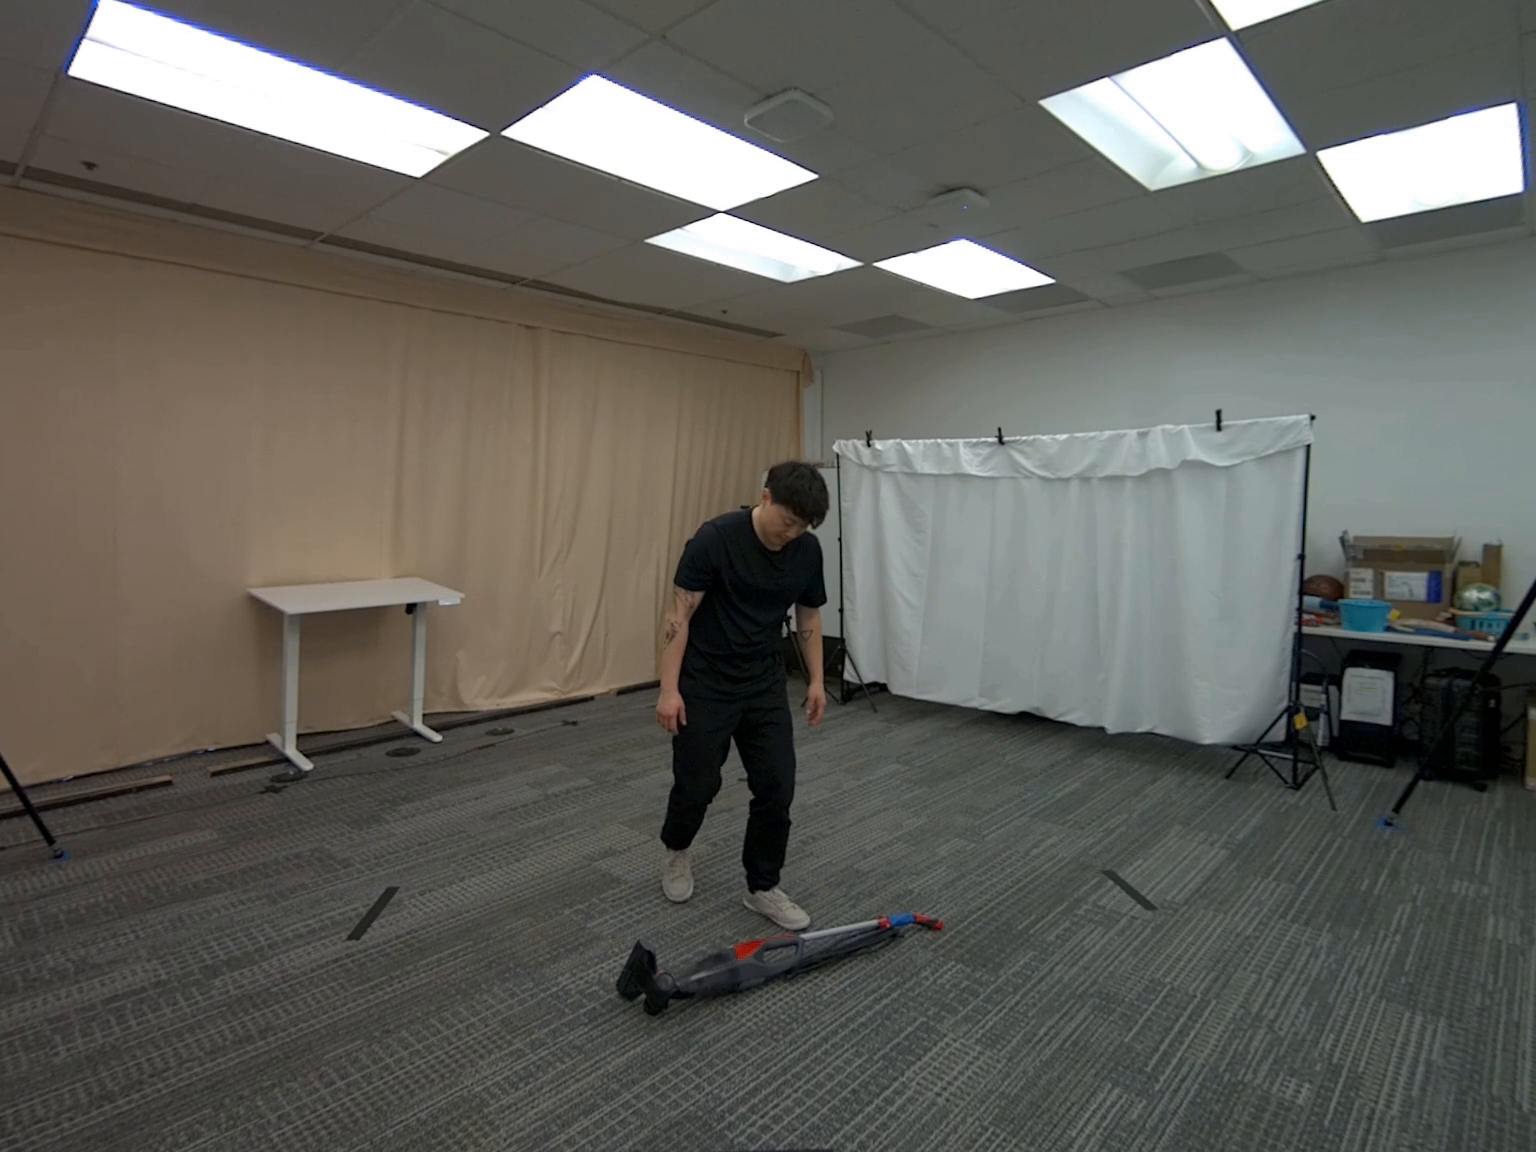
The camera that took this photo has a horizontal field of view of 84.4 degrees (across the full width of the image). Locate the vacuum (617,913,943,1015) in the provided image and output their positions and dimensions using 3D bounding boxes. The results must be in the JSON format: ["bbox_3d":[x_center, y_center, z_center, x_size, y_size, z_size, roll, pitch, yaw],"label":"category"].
[{"bbox_3d":[0.118,1.130,2.538,1.022,0.251,0.148,3,37,-26],"label":"vacuum"}]
